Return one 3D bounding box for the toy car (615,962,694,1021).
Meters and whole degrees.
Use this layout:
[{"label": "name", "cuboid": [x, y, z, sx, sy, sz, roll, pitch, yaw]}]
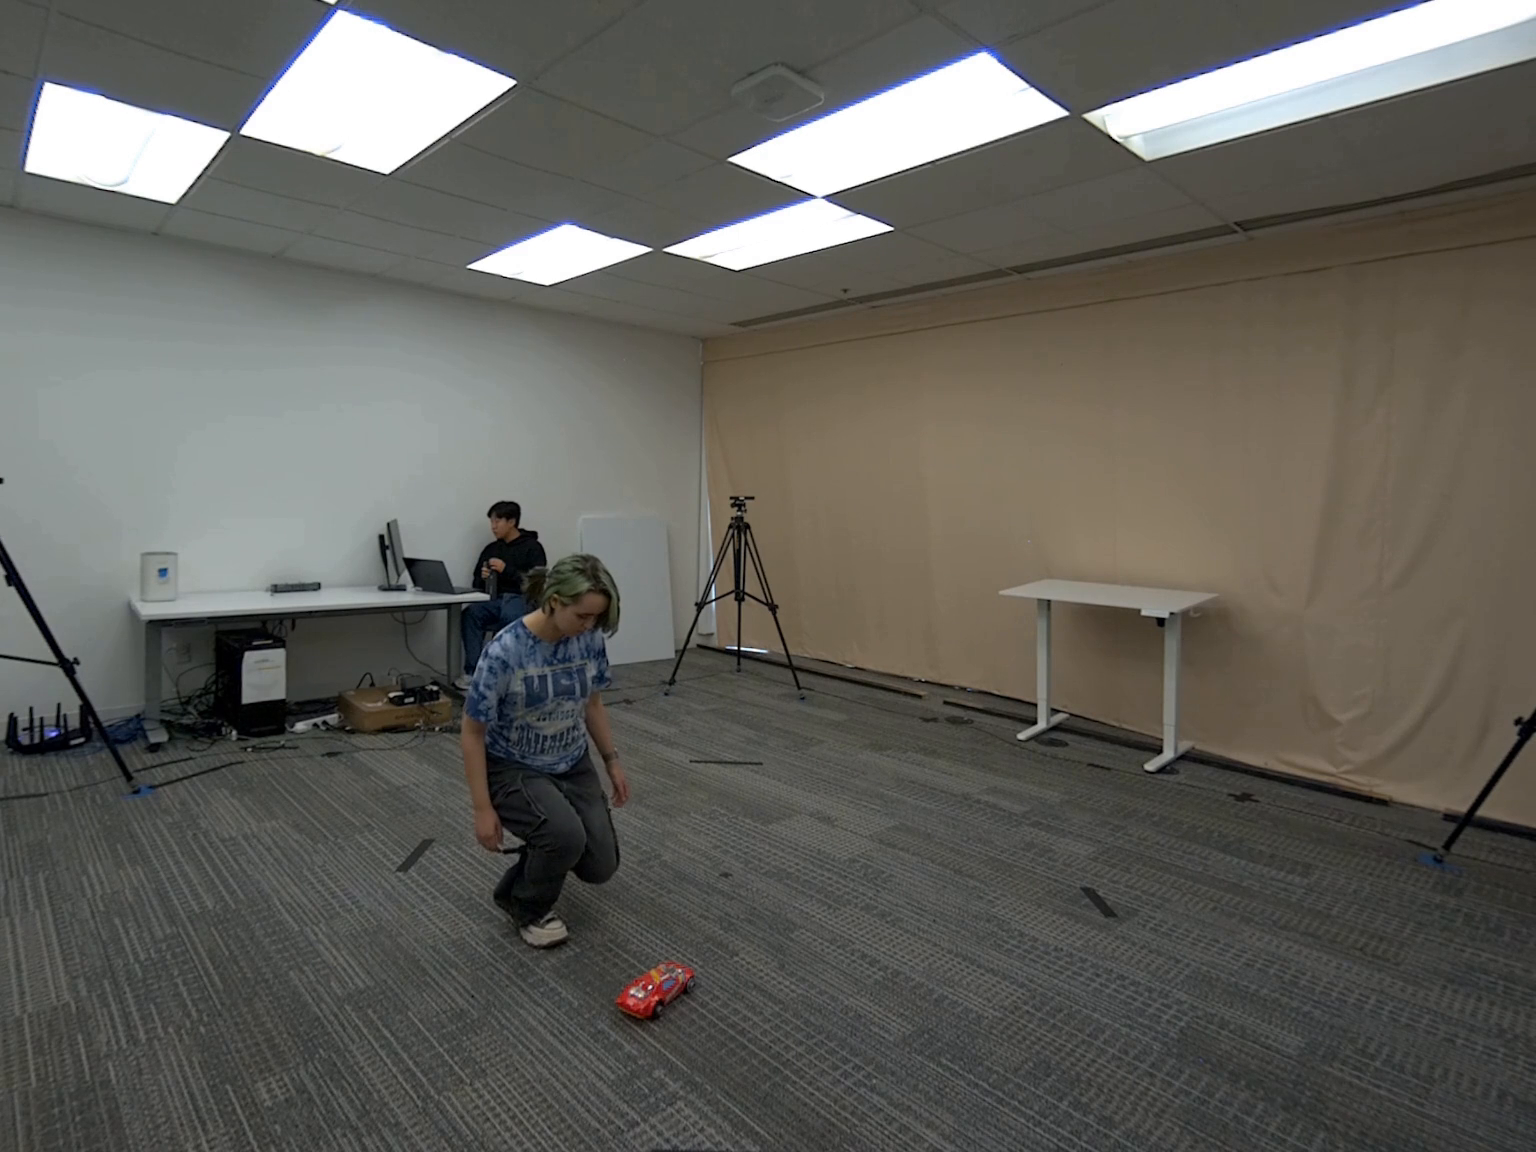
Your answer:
[{"label": "toy car", "cuboid": [-0.315, 1.147, 2.298, 0.133, 0.083, 0.248, 4, -5, 33]}]
